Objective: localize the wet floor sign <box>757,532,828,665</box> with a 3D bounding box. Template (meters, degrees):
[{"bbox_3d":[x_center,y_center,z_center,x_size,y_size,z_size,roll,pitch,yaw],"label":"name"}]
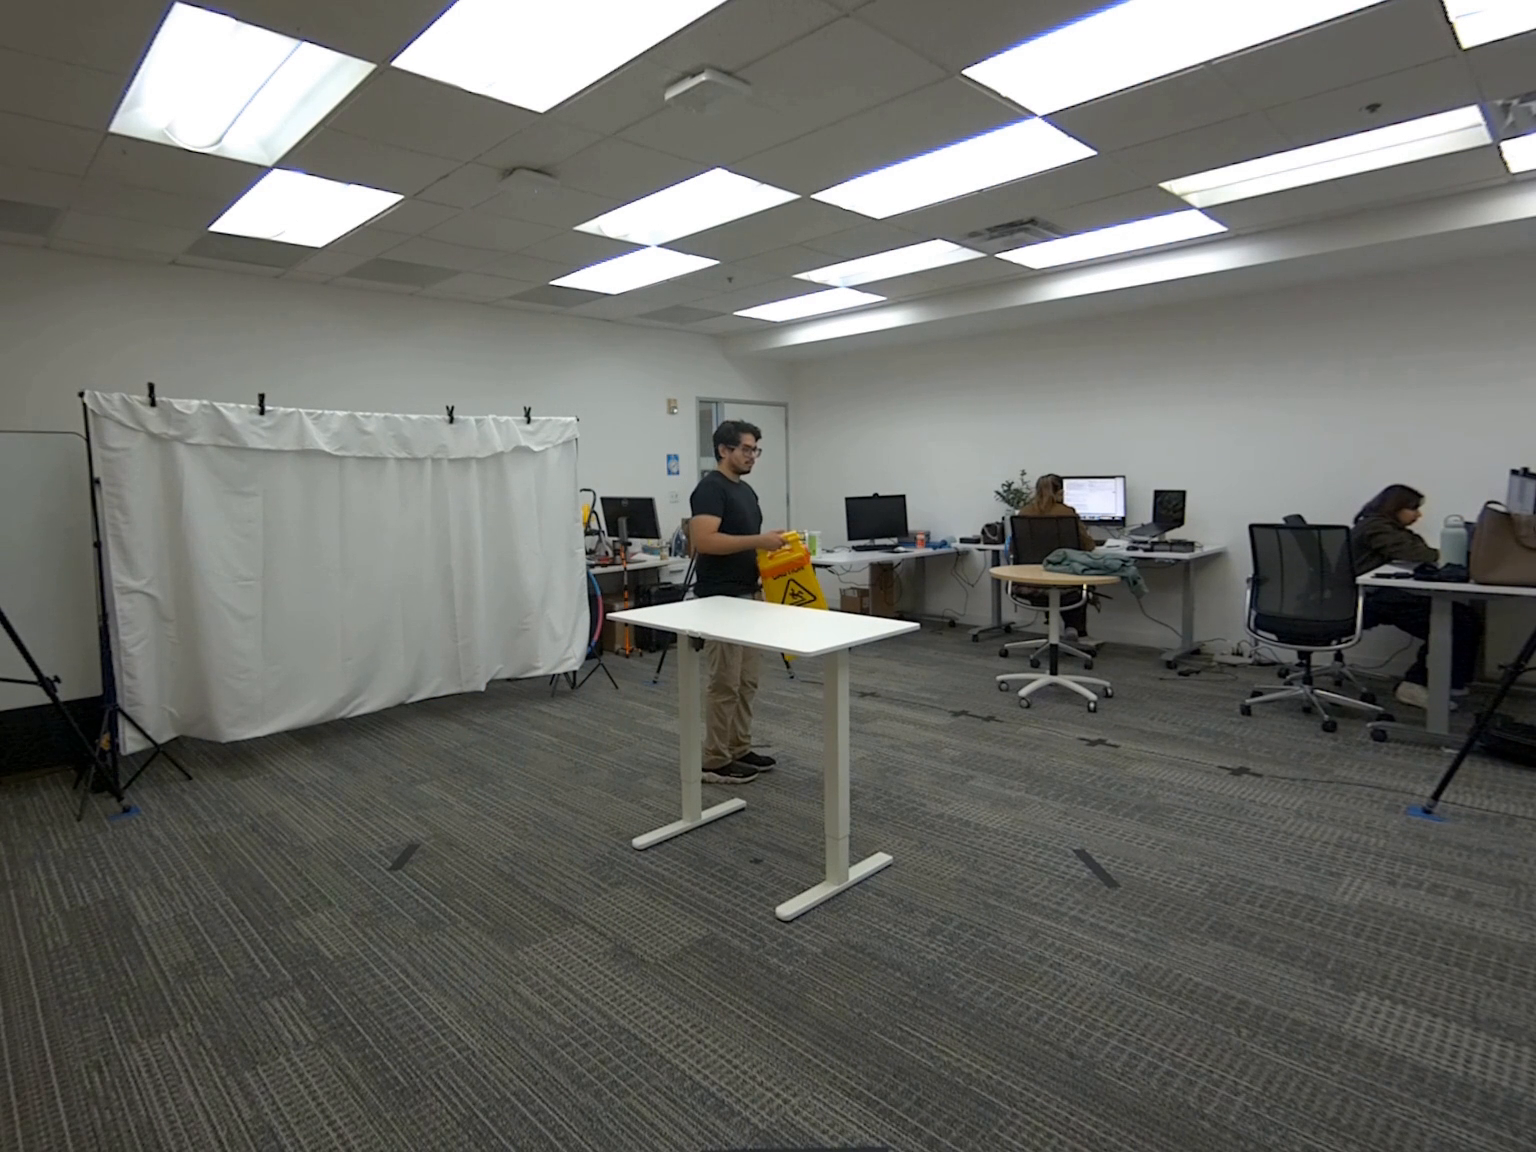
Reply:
[{"bbox_3d":[0.106,0.053,4.014,0.282,0.623,0.300,-19,43,1],"label":"wet floor sign"}]
